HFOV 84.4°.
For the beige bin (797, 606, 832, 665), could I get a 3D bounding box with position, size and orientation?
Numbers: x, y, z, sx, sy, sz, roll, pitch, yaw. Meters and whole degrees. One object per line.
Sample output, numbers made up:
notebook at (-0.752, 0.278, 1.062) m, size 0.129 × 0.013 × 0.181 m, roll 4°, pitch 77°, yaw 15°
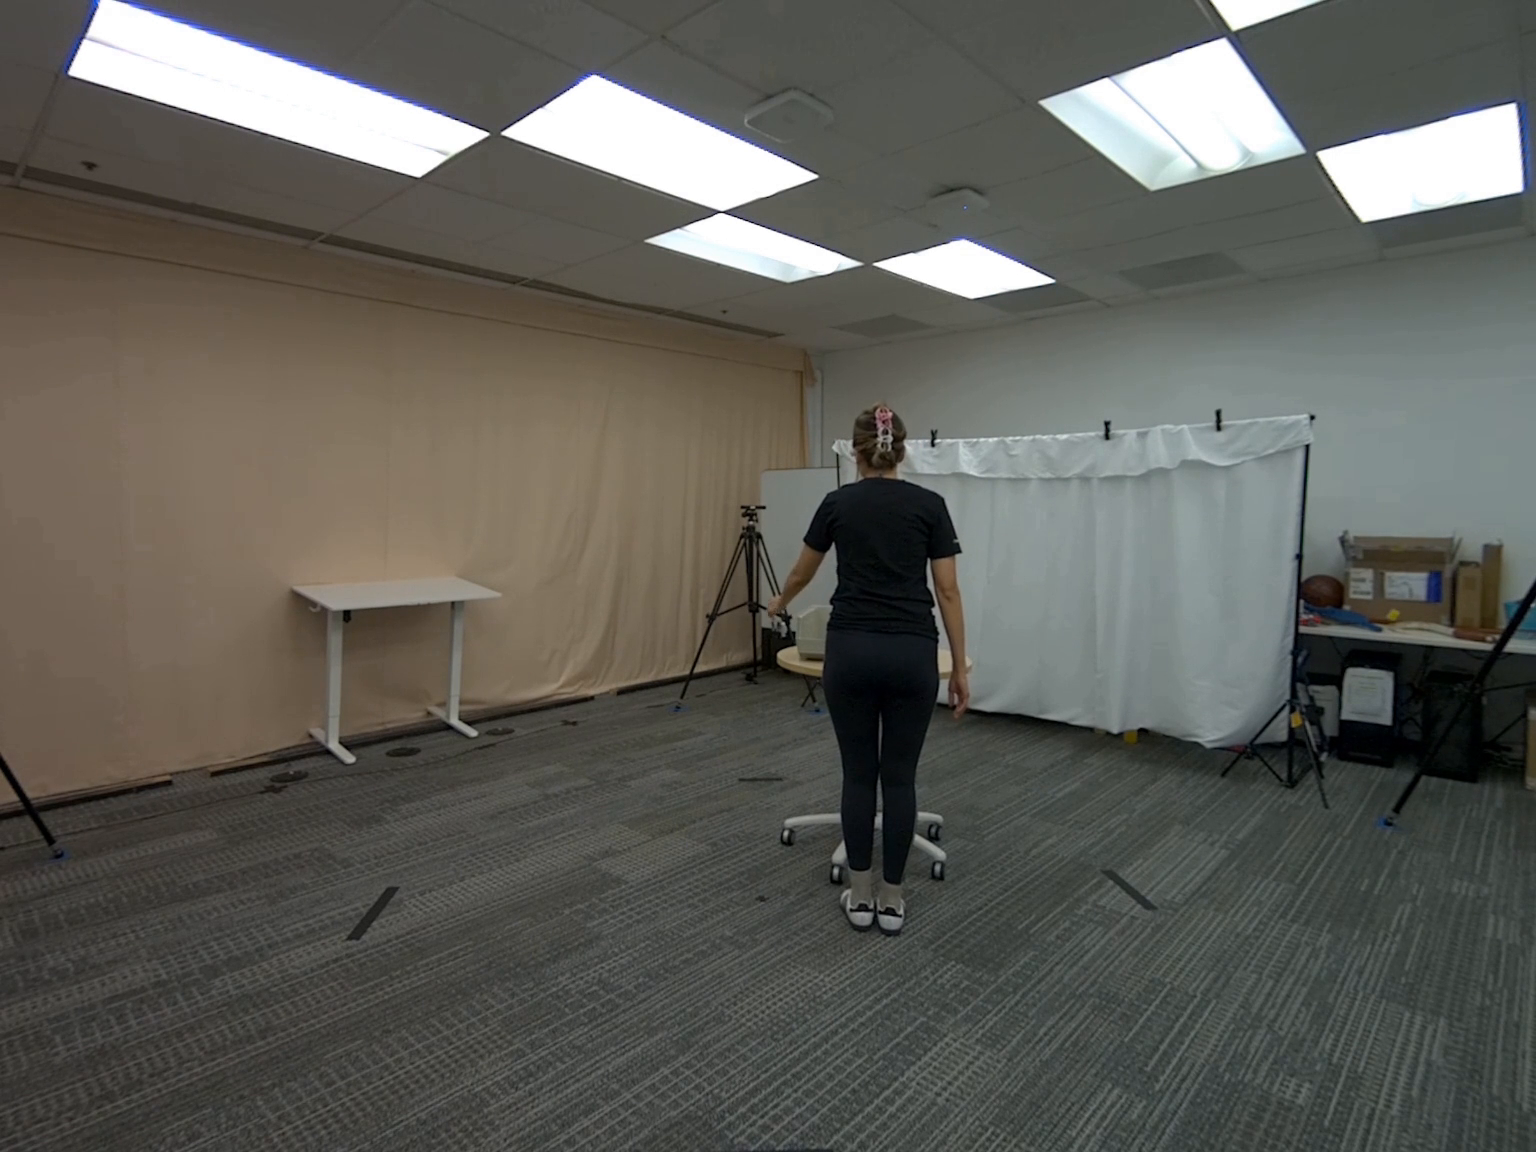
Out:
beige bin at (0.358, 0.235, 3.362) m, size 0.429 × 0.189 × 0.371 m, roll 1°, pitch 2°, yaw 15°
